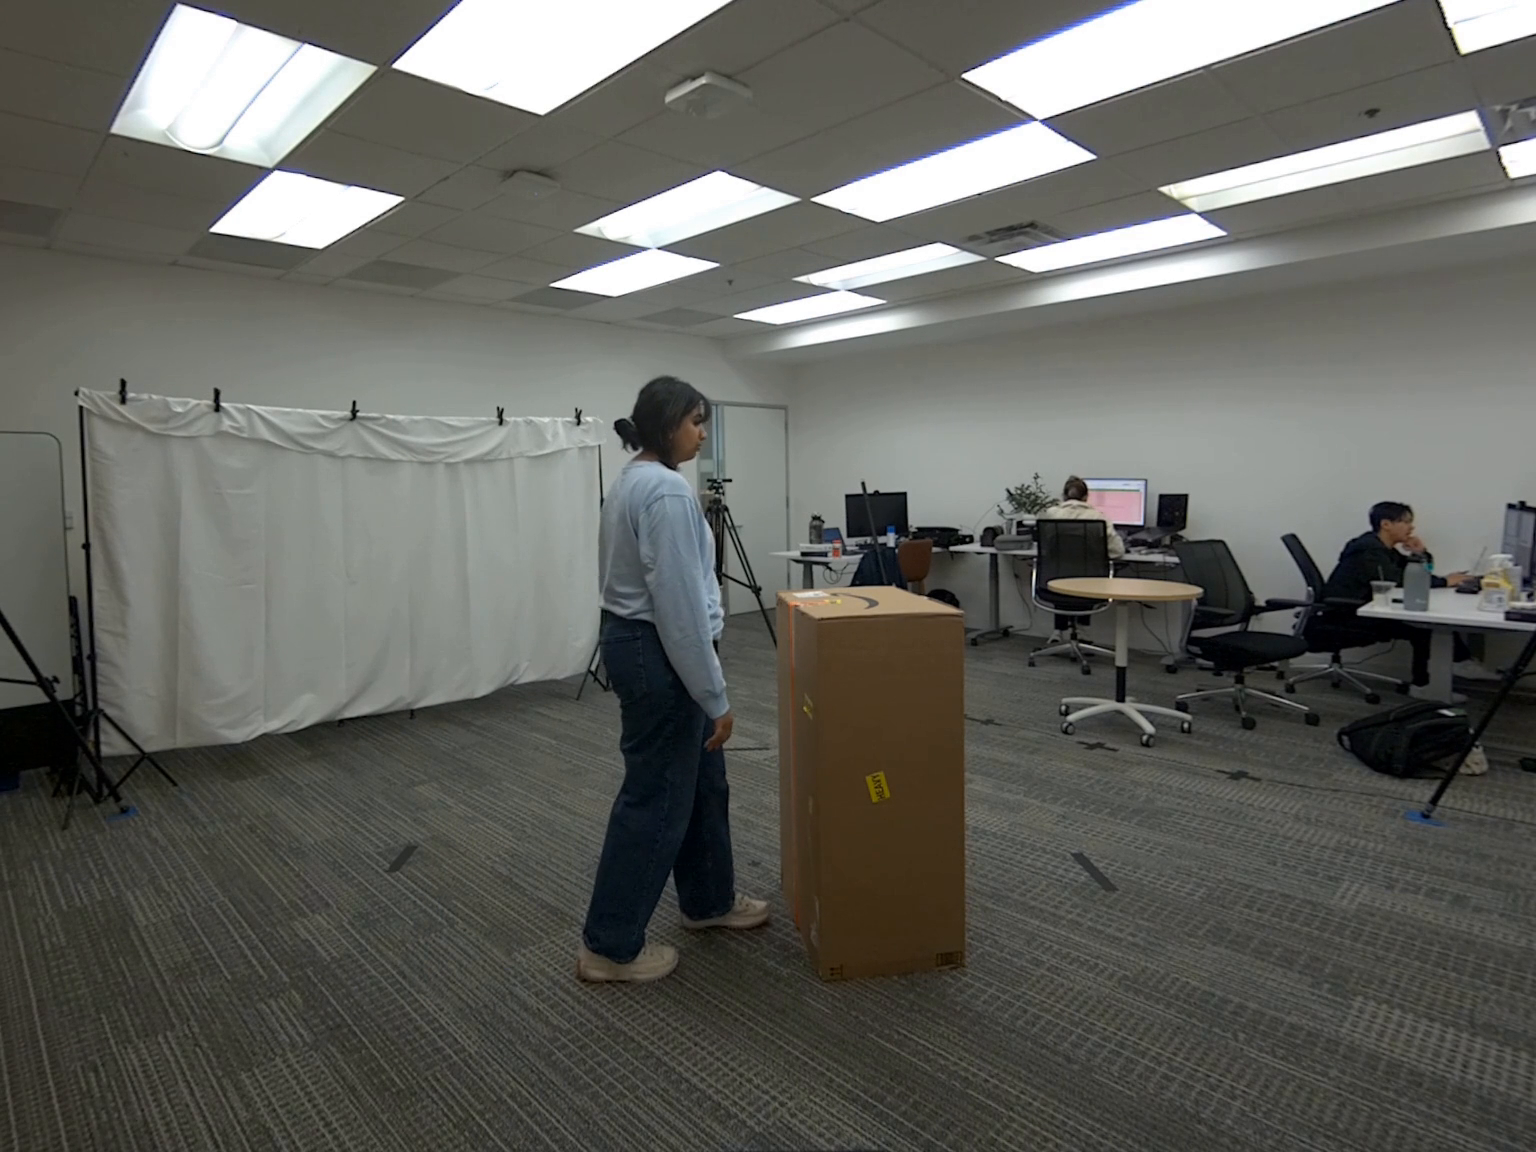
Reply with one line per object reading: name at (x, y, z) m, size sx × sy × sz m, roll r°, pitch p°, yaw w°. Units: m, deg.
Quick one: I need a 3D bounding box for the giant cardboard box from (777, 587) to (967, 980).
giant cardboard box at (0.296, 0.582, 2.650) m, size 0.443 × 1.023 × 0.591 m, roll -2°, pitch 5°, yaw -9°
